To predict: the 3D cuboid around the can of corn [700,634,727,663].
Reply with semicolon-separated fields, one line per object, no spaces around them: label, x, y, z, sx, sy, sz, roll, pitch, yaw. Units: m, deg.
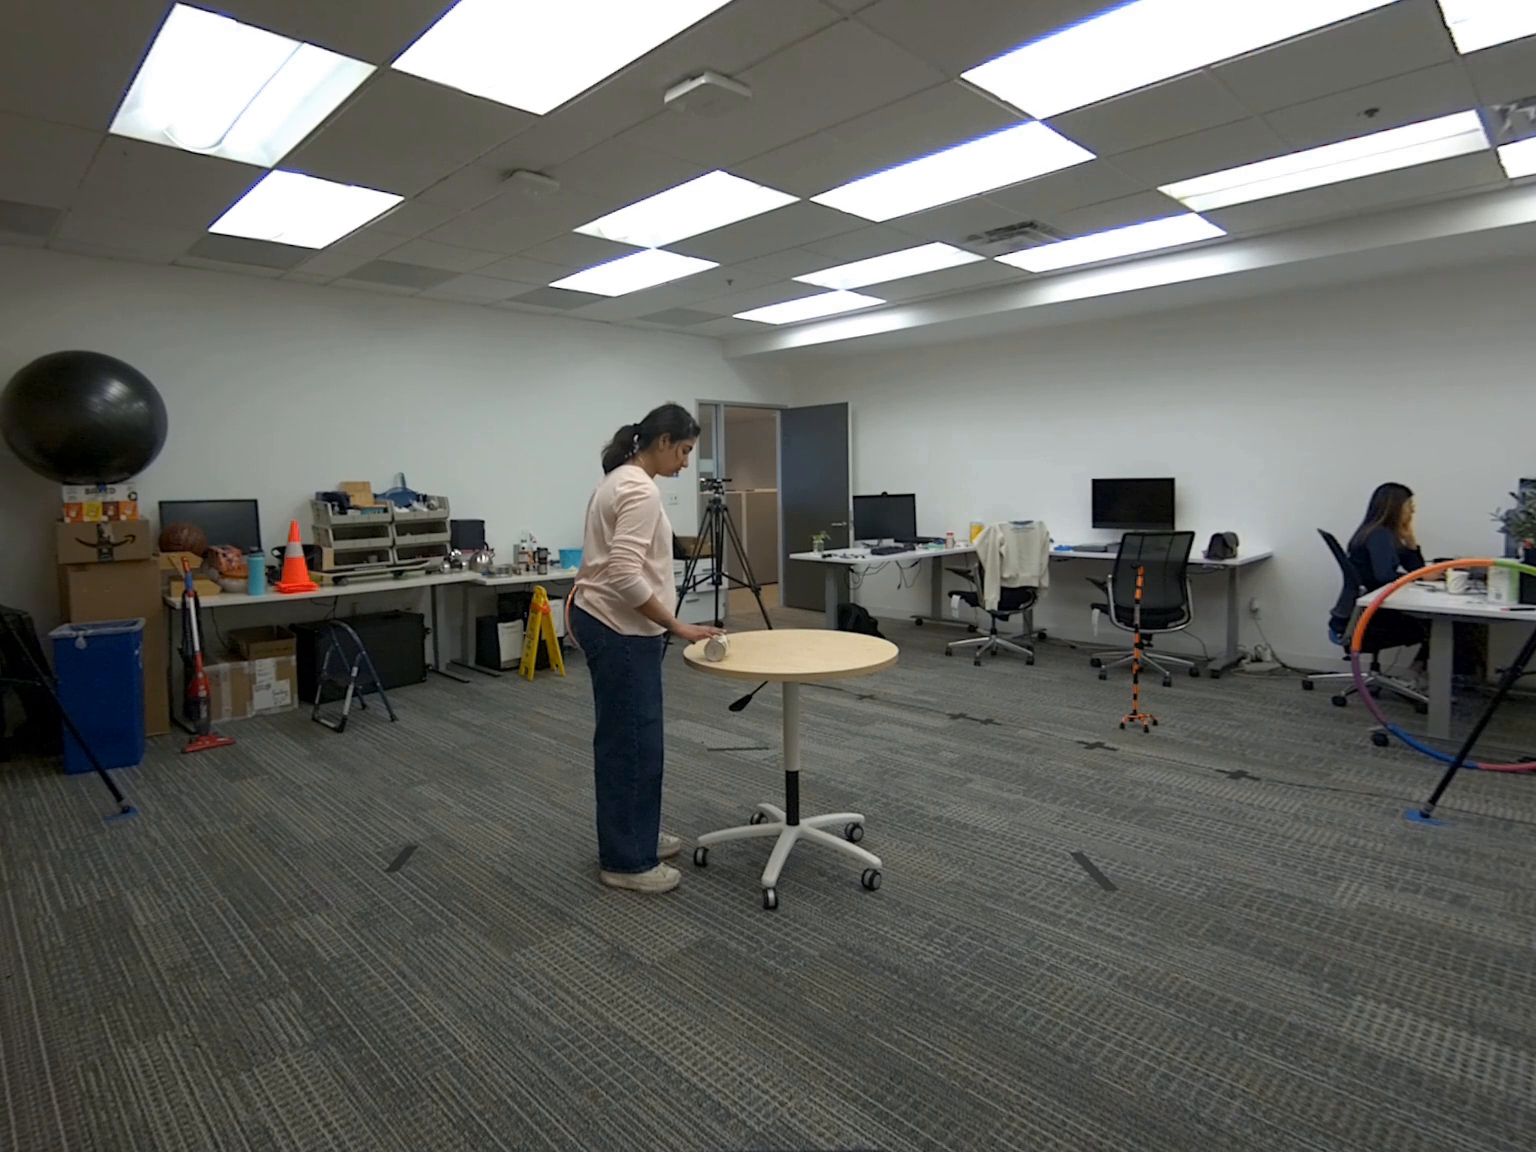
can of corn;-0.169;0.244;2.931;0.074;0.073;0.111;-1;9;3
